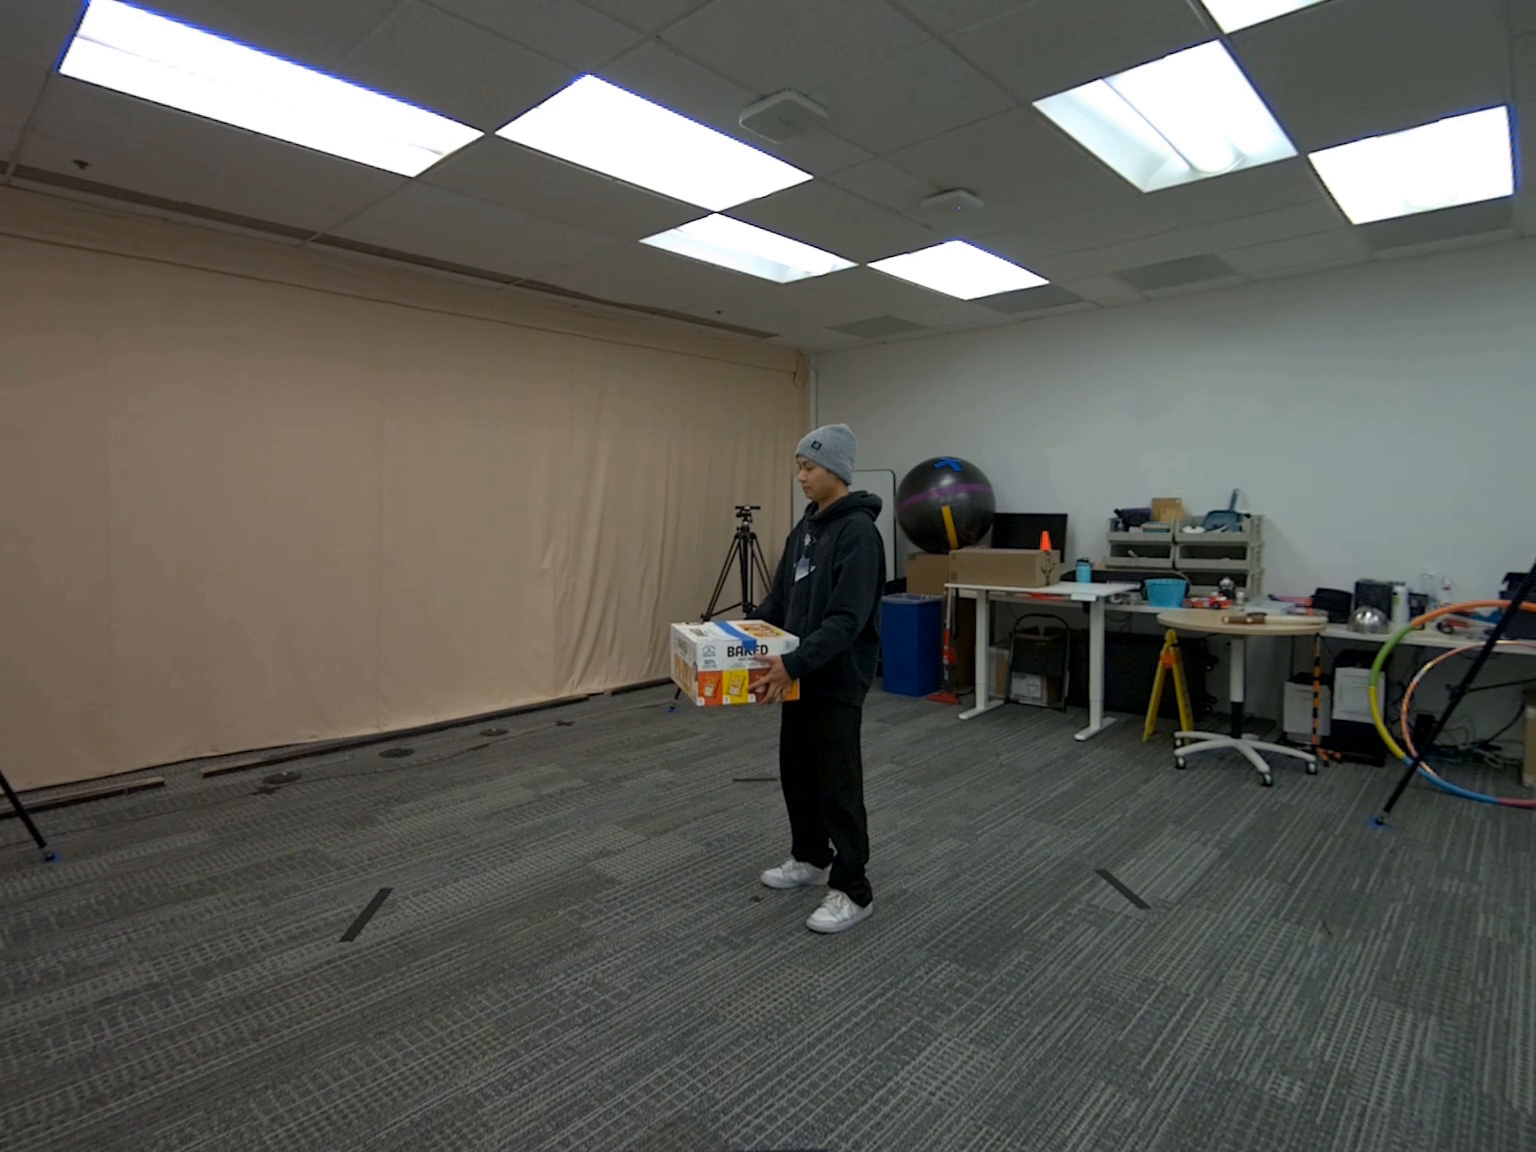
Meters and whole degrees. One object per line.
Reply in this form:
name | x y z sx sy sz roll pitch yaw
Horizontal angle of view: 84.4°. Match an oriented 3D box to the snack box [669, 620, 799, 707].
snack box | -0.119 0.286 2.855 0.334 0.205 0.413 -1 4 -17
